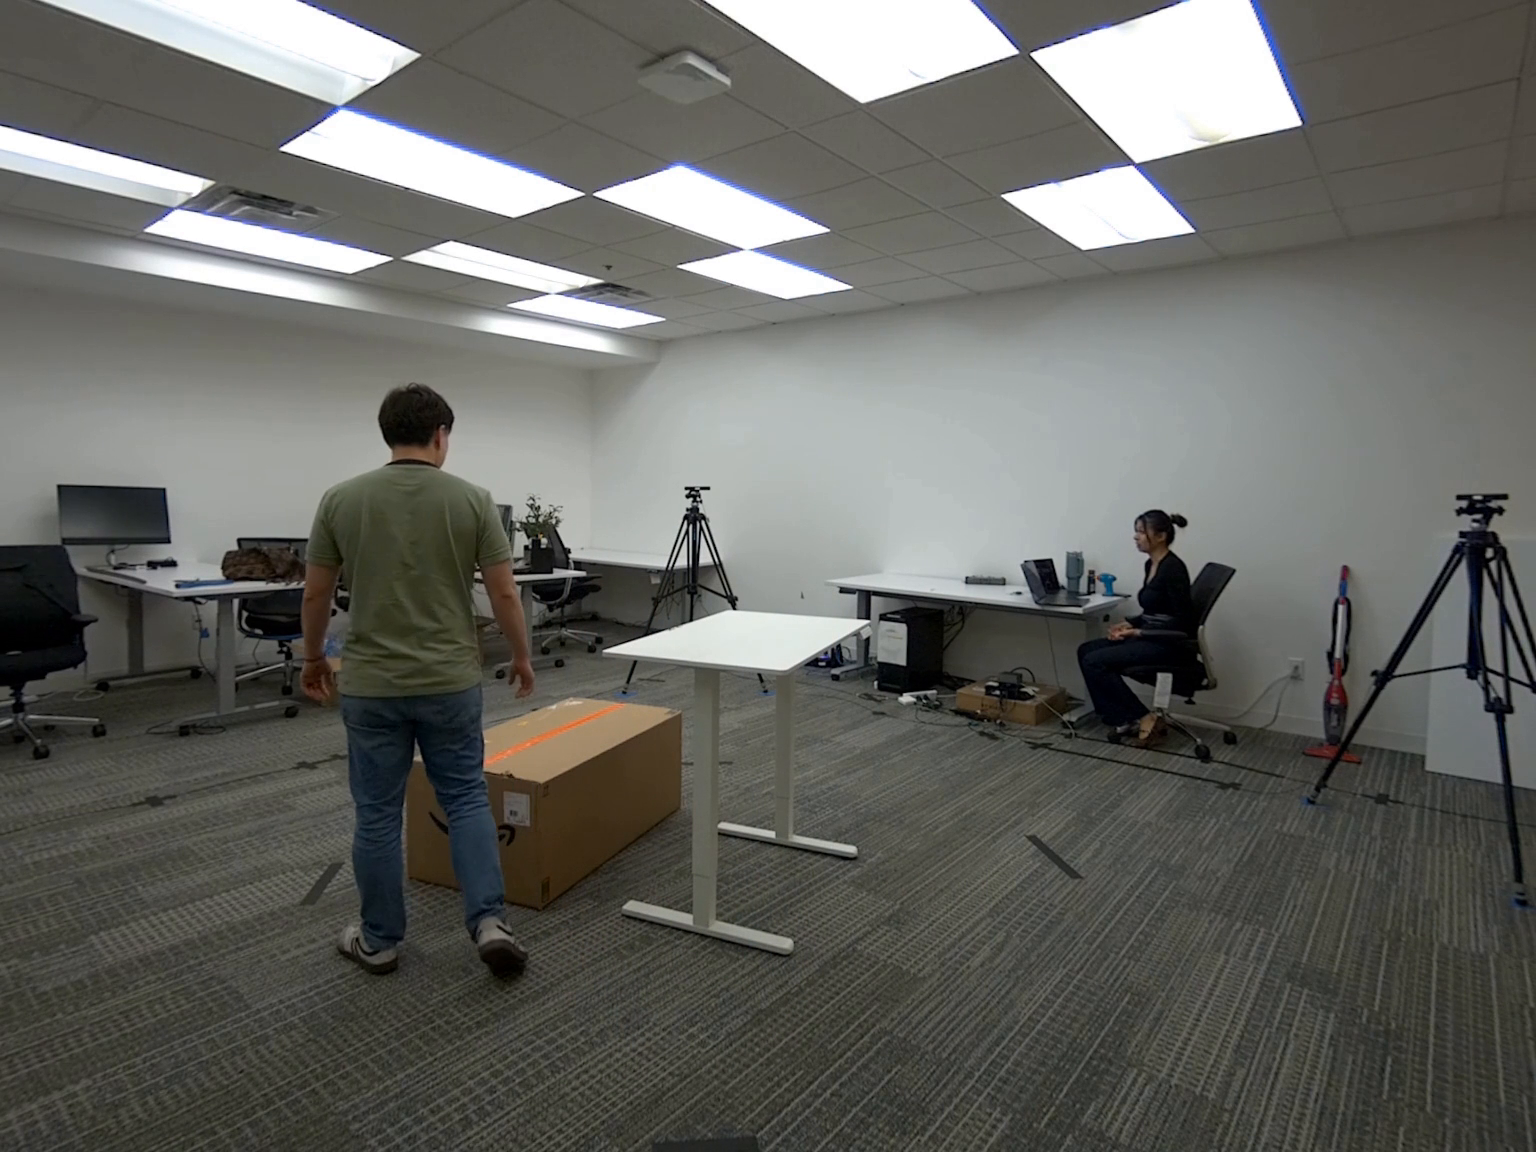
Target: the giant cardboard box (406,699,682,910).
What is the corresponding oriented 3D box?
[{"bbox_3d":[-0.830,0.820,3.336,0.591,0.425,1.006,2,5,22],"label":"giant cardboard box"}]
